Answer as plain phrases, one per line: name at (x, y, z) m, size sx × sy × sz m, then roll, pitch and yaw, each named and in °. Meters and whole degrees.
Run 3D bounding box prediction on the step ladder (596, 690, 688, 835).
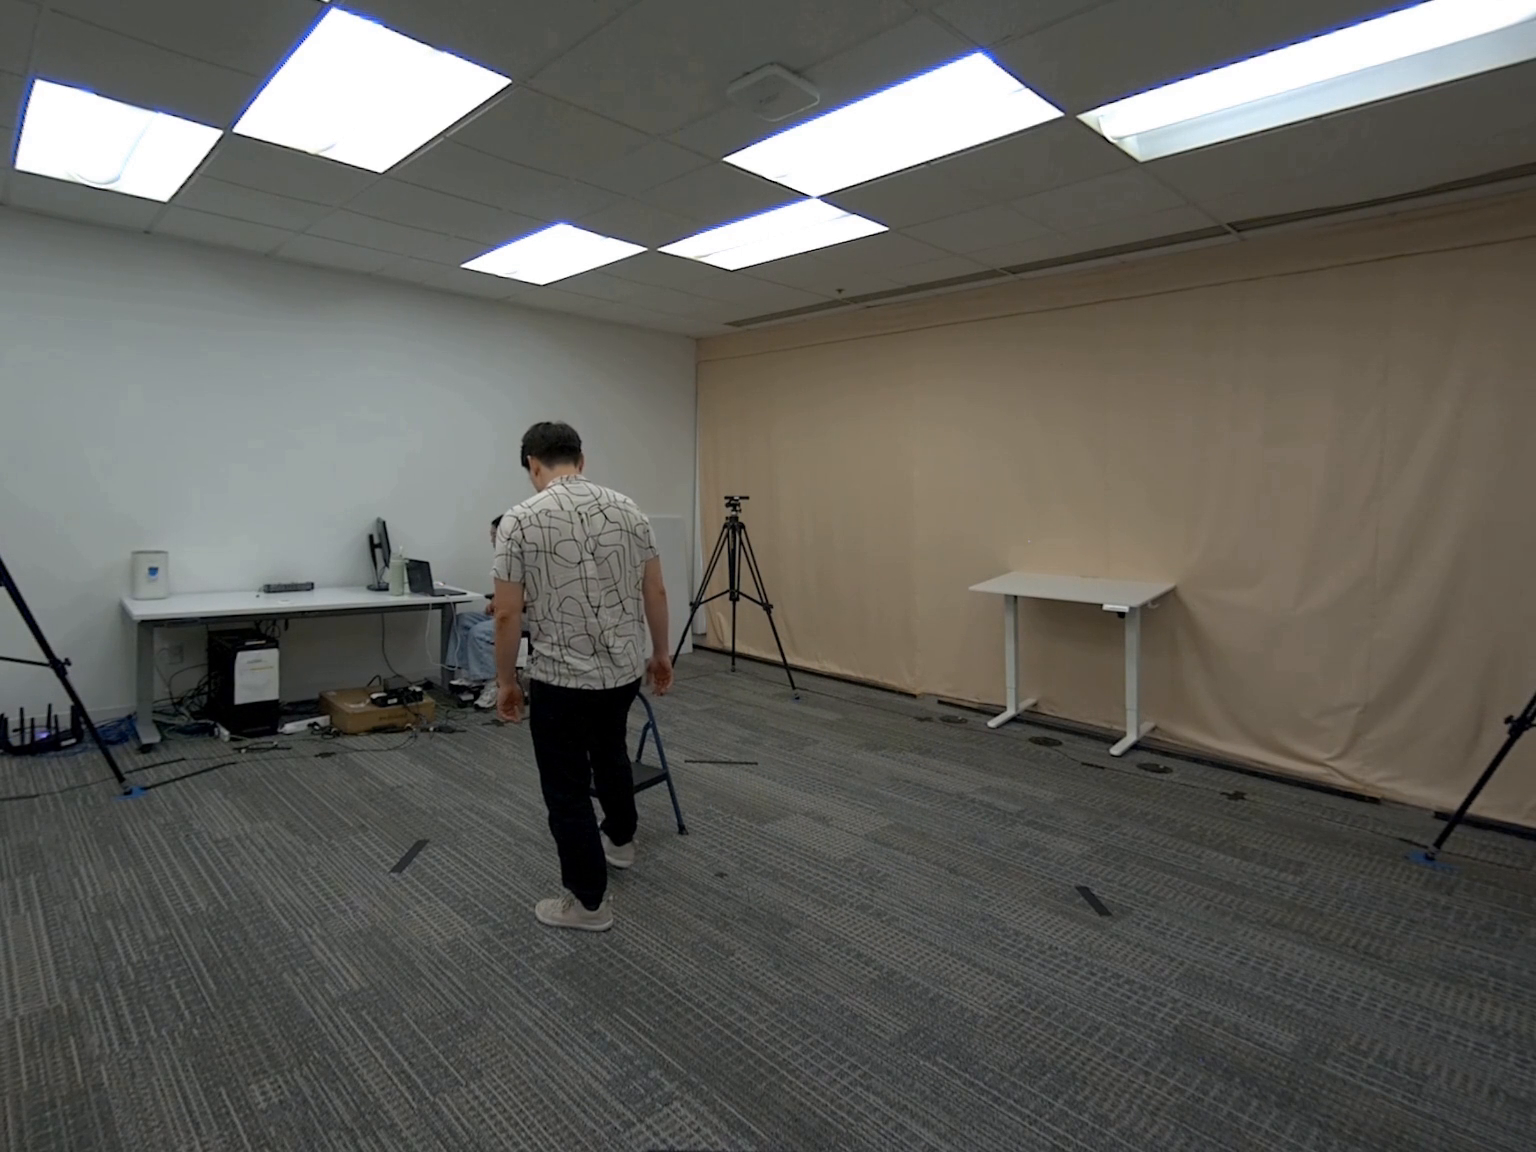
step ladder at (-0.579, 0.769, 3.384) m, size 0.357 × 0.604 × 0.422 m, roll 4°, pitch 4°, yaw 30°
